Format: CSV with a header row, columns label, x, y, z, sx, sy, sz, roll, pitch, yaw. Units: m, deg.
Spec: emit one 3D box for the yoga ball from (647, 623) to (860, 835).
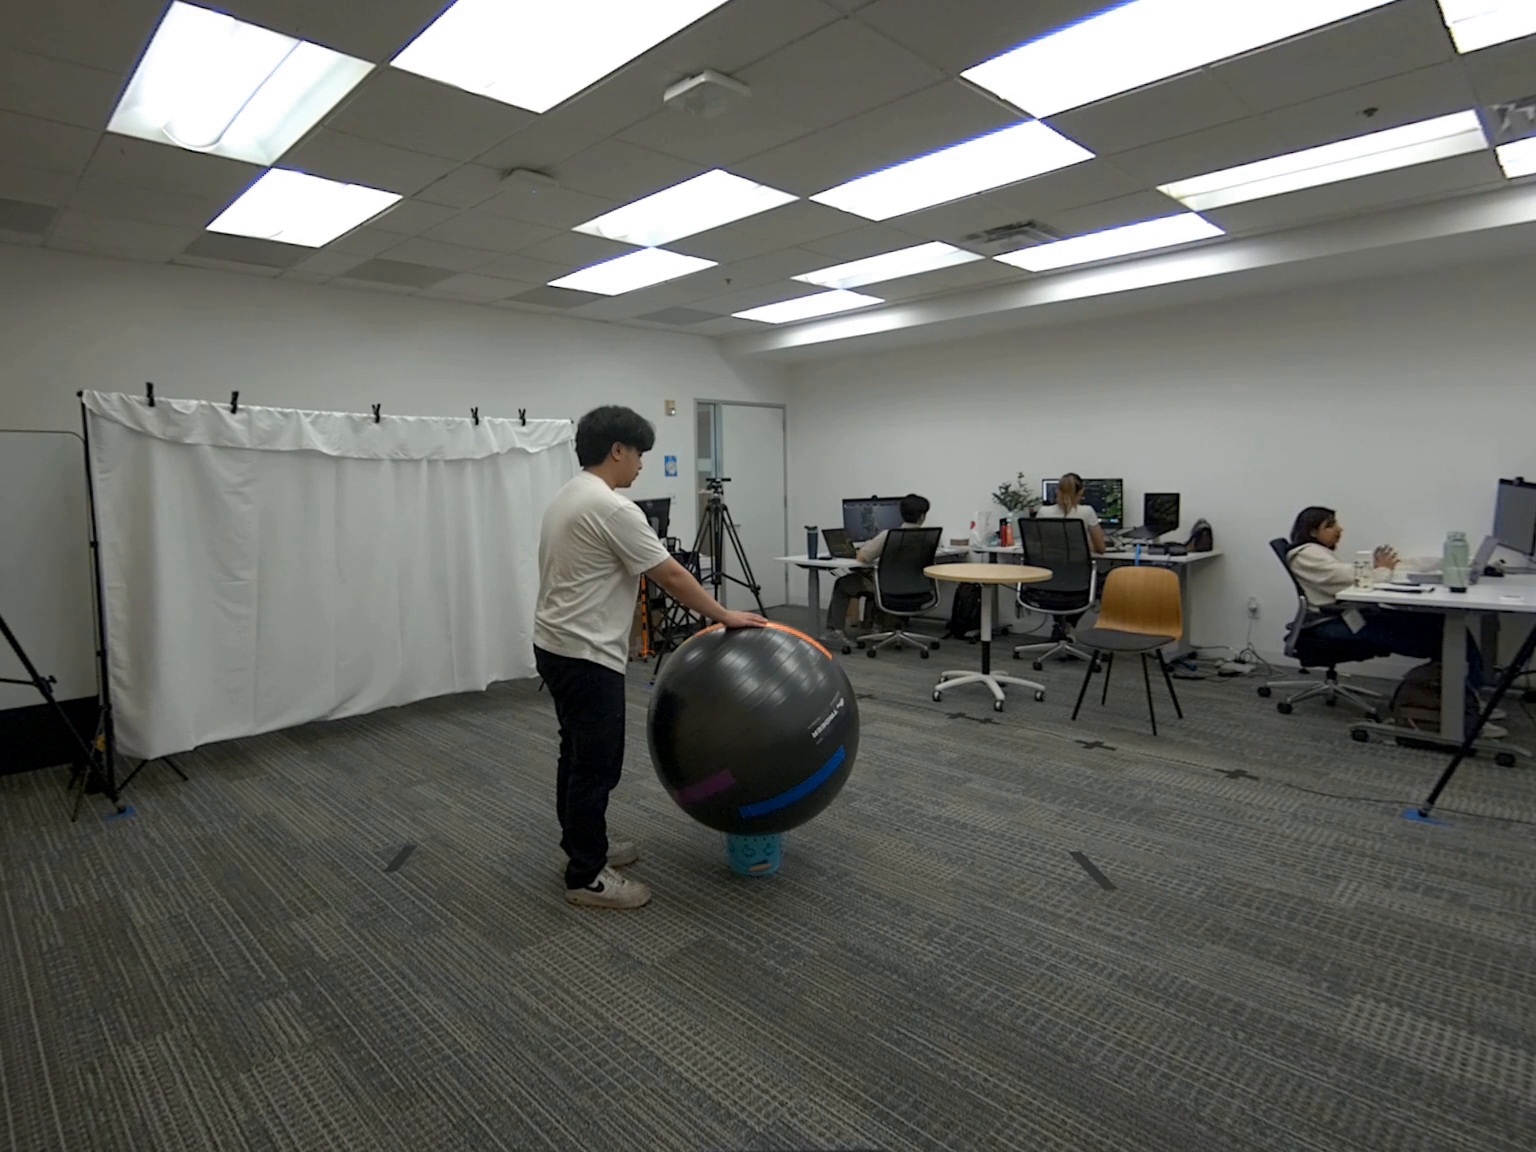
label,x,y,z,sx,sy,sz,roll,pitch,yaw
yoga ball,-0.051,0.539,3.058,0.757,0.755,0.762,-1,5,-2
